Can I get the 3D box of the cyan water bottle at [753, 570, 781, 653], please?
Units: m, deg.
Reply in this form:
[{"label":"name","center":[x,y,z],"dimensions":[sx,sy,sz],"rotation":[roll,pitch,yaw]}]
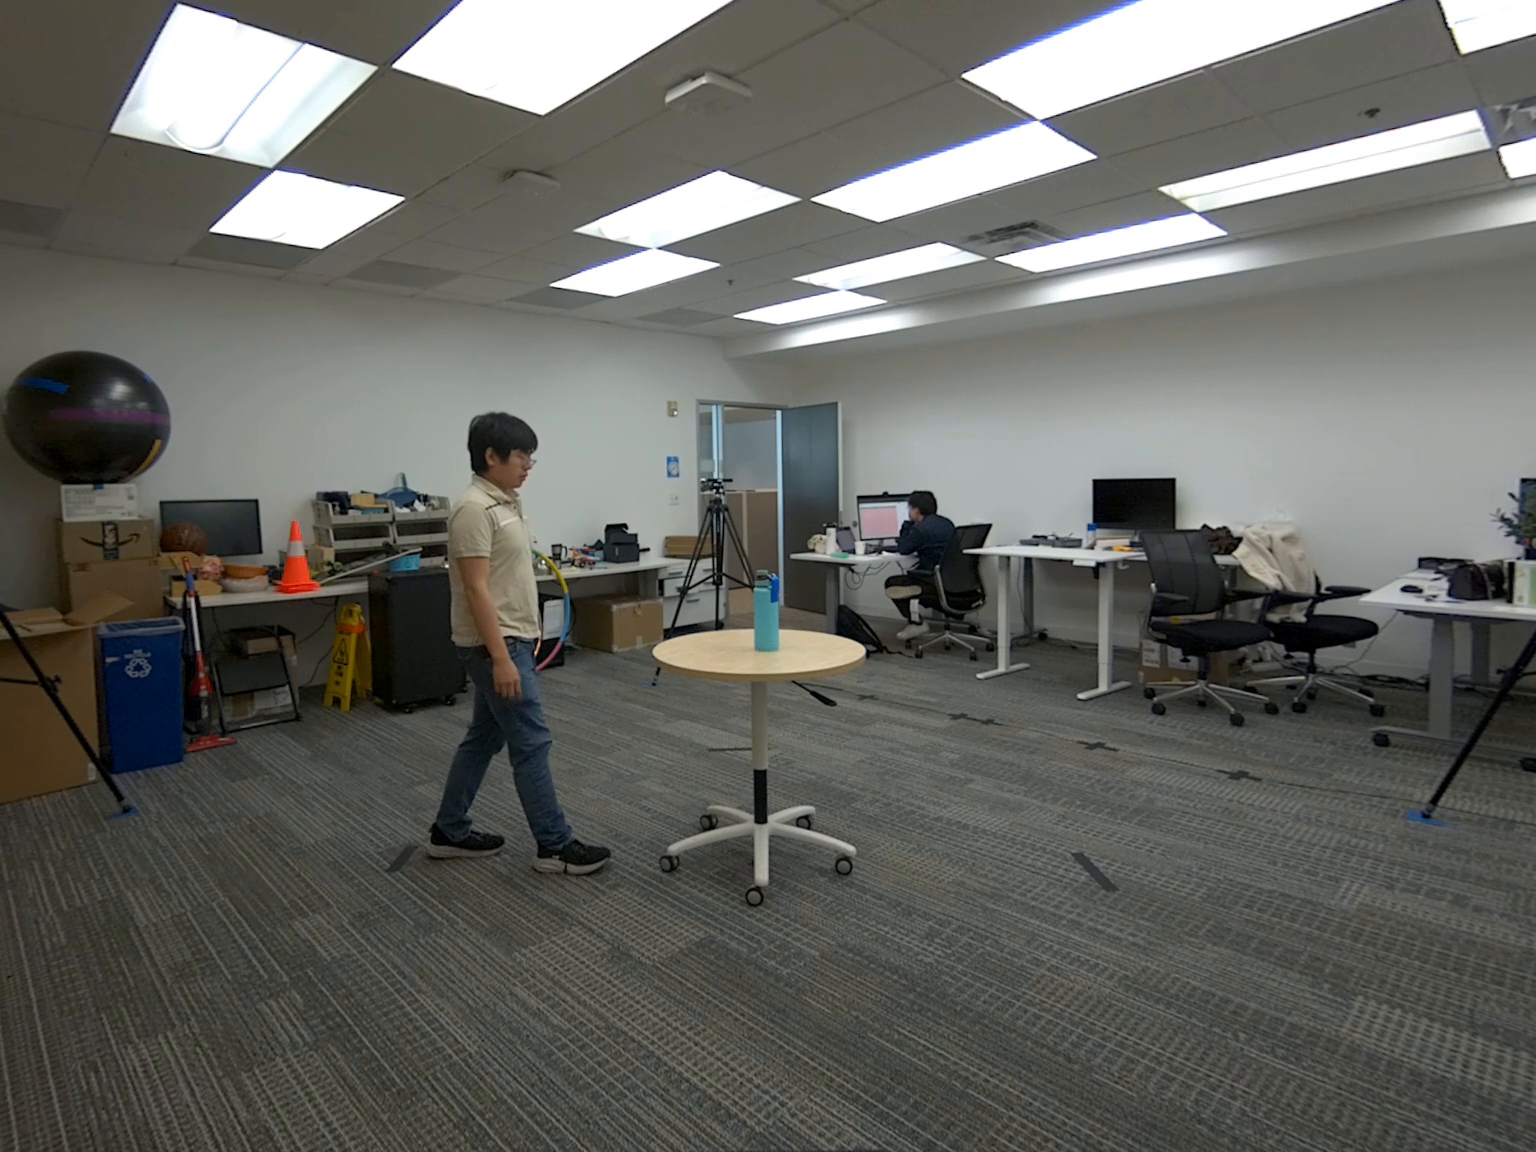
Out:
[{"label":"cyan water bottle","center":[-0.010,0.123,3.066],"dimensions":[0.092,0.282,0.093],"rotation":[-2,5,-1]}]
